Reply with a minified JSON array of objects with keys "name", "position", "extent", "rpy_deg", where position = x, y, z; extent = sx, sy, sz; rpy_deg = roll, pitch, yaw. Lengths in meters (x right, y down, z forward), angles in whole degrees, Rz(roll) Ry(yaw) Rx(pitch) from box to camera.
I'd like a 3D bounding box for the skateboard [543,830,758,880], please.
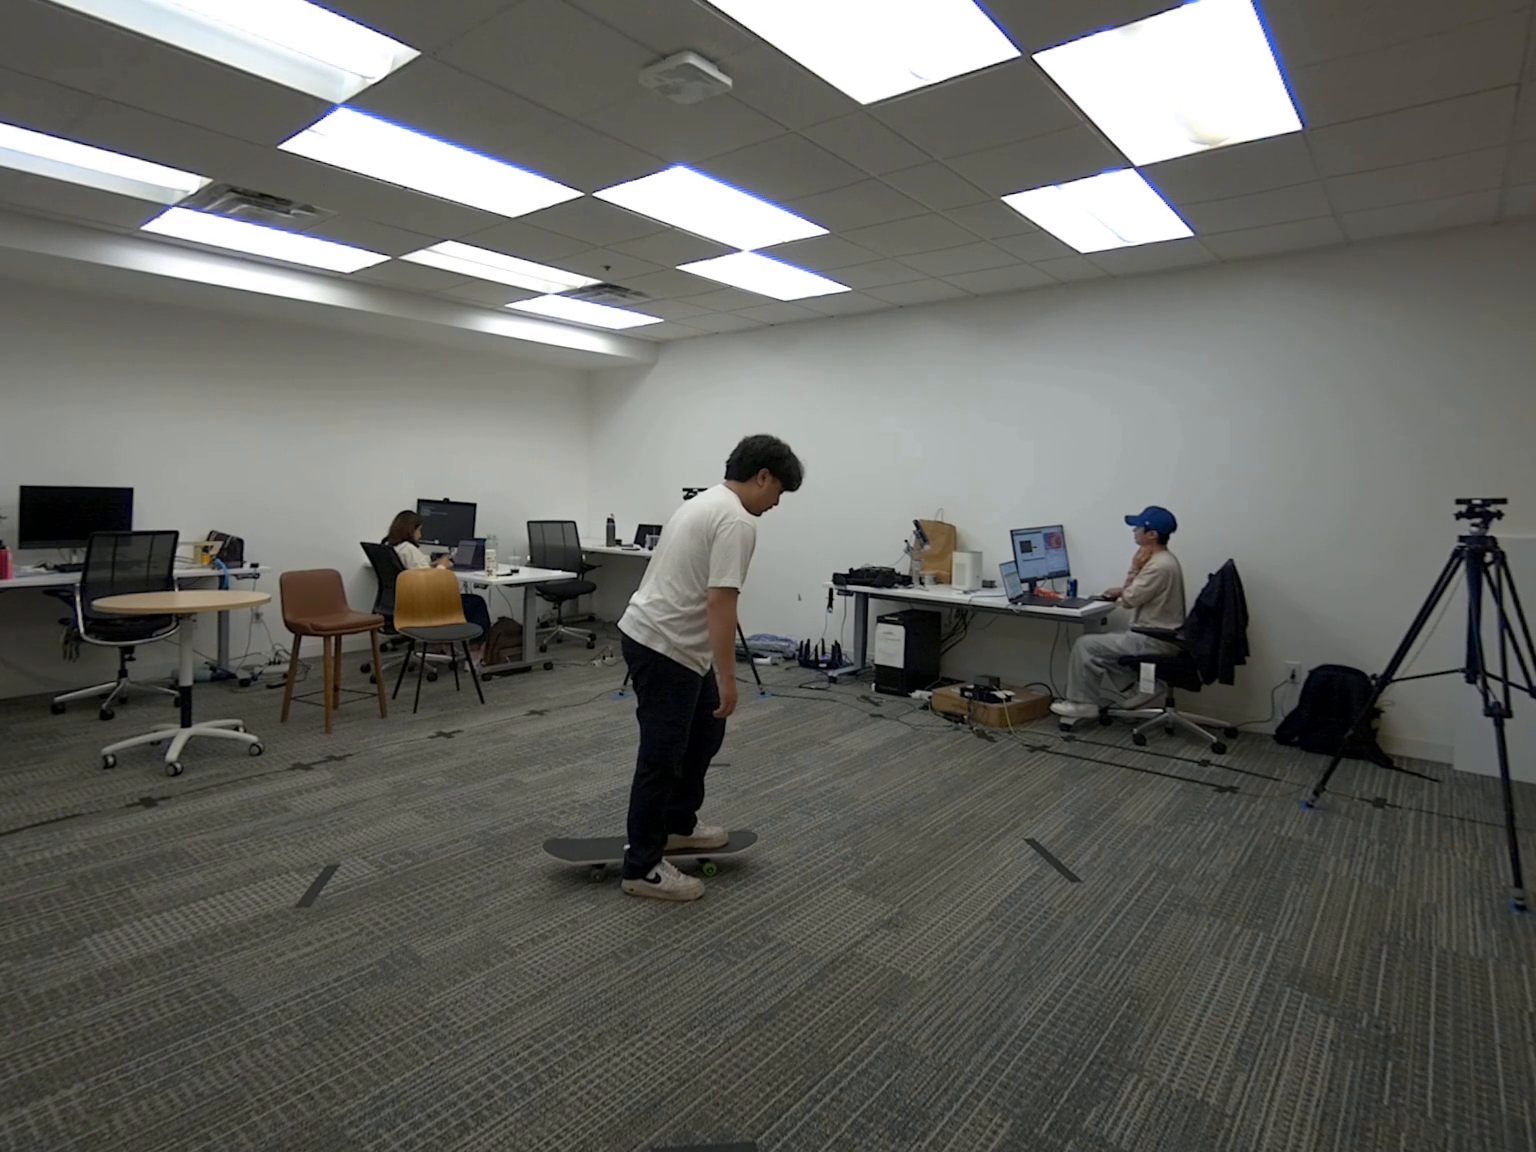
[{"name":"skateboard","position":[-0.428,1.007,3.093],"extent":[0.778,0.110,0.196],"rpy_deg":[0,5,-9]}]
